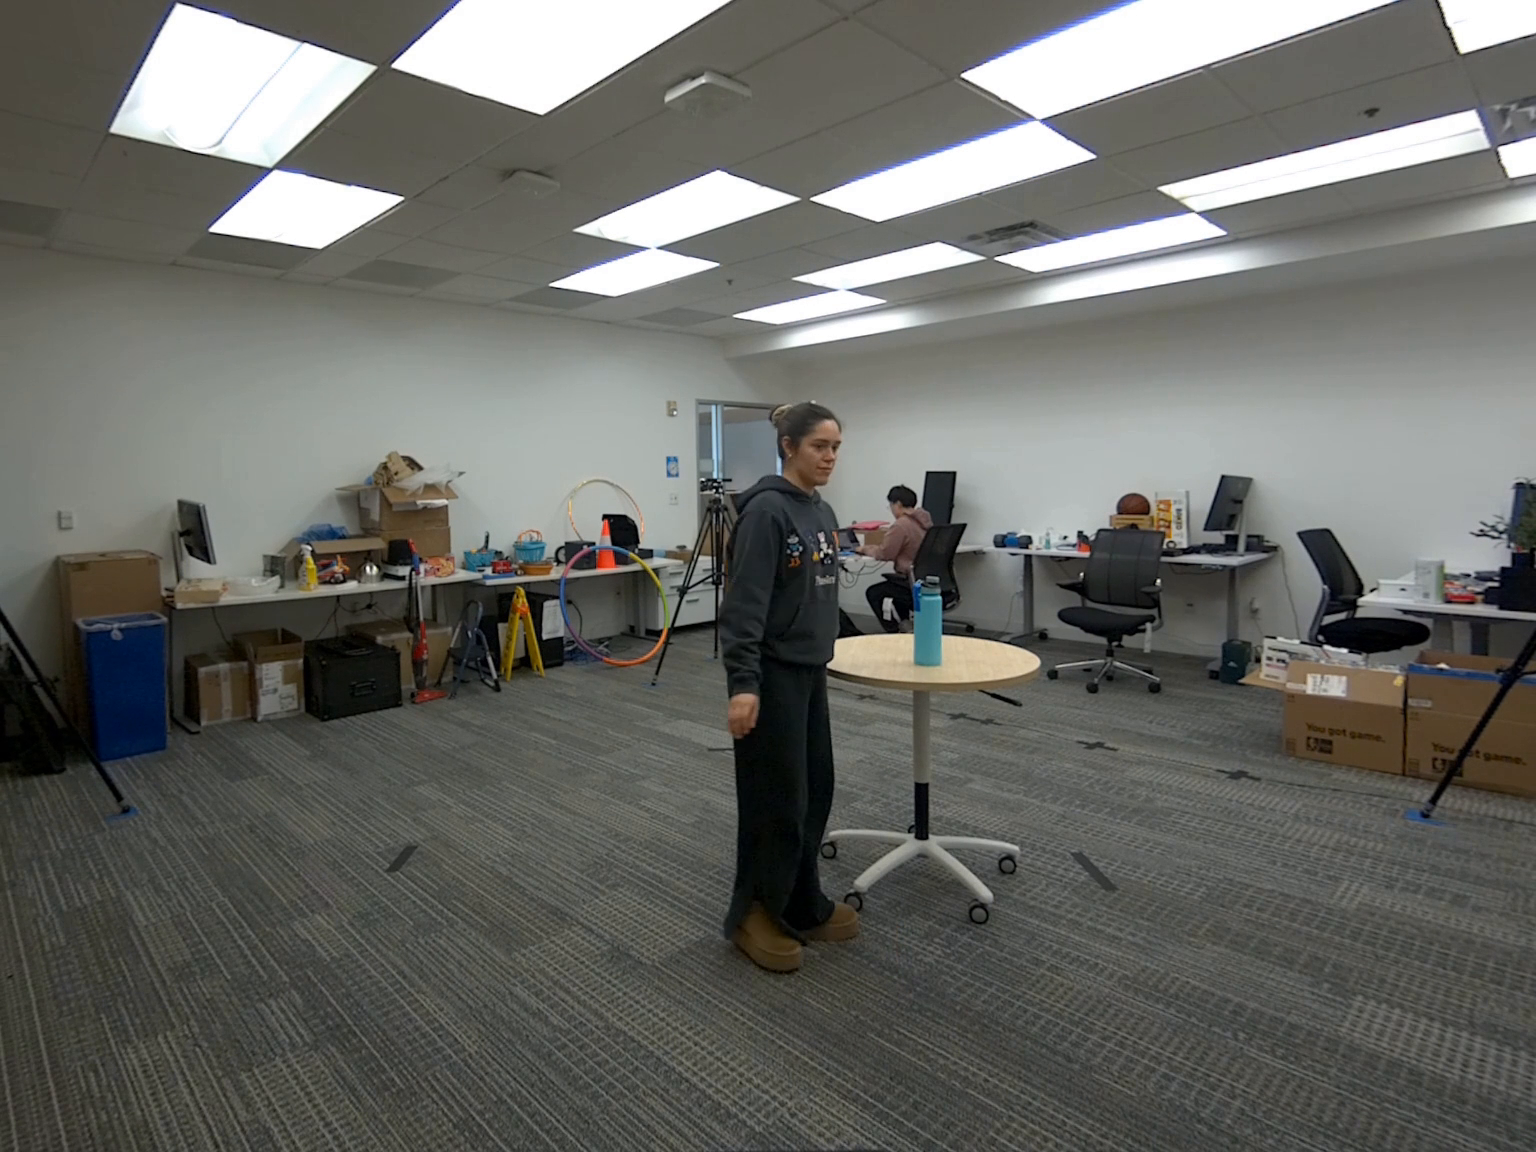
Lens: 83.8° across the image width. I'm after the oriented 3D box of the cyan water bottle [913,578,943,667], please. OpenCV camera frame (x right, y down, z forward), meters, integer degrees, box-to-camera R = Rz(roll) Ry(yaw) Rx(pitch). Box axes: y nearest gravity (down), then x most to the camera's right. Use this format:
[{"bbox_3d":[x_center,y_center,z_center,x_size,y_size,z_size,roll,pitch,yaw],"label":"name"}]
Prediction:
[{"bbox_3d":[0.526,0.149,2.781,0.092,0.282,0.093,-1,5,-2],"label":"cyan water bottle"}]
